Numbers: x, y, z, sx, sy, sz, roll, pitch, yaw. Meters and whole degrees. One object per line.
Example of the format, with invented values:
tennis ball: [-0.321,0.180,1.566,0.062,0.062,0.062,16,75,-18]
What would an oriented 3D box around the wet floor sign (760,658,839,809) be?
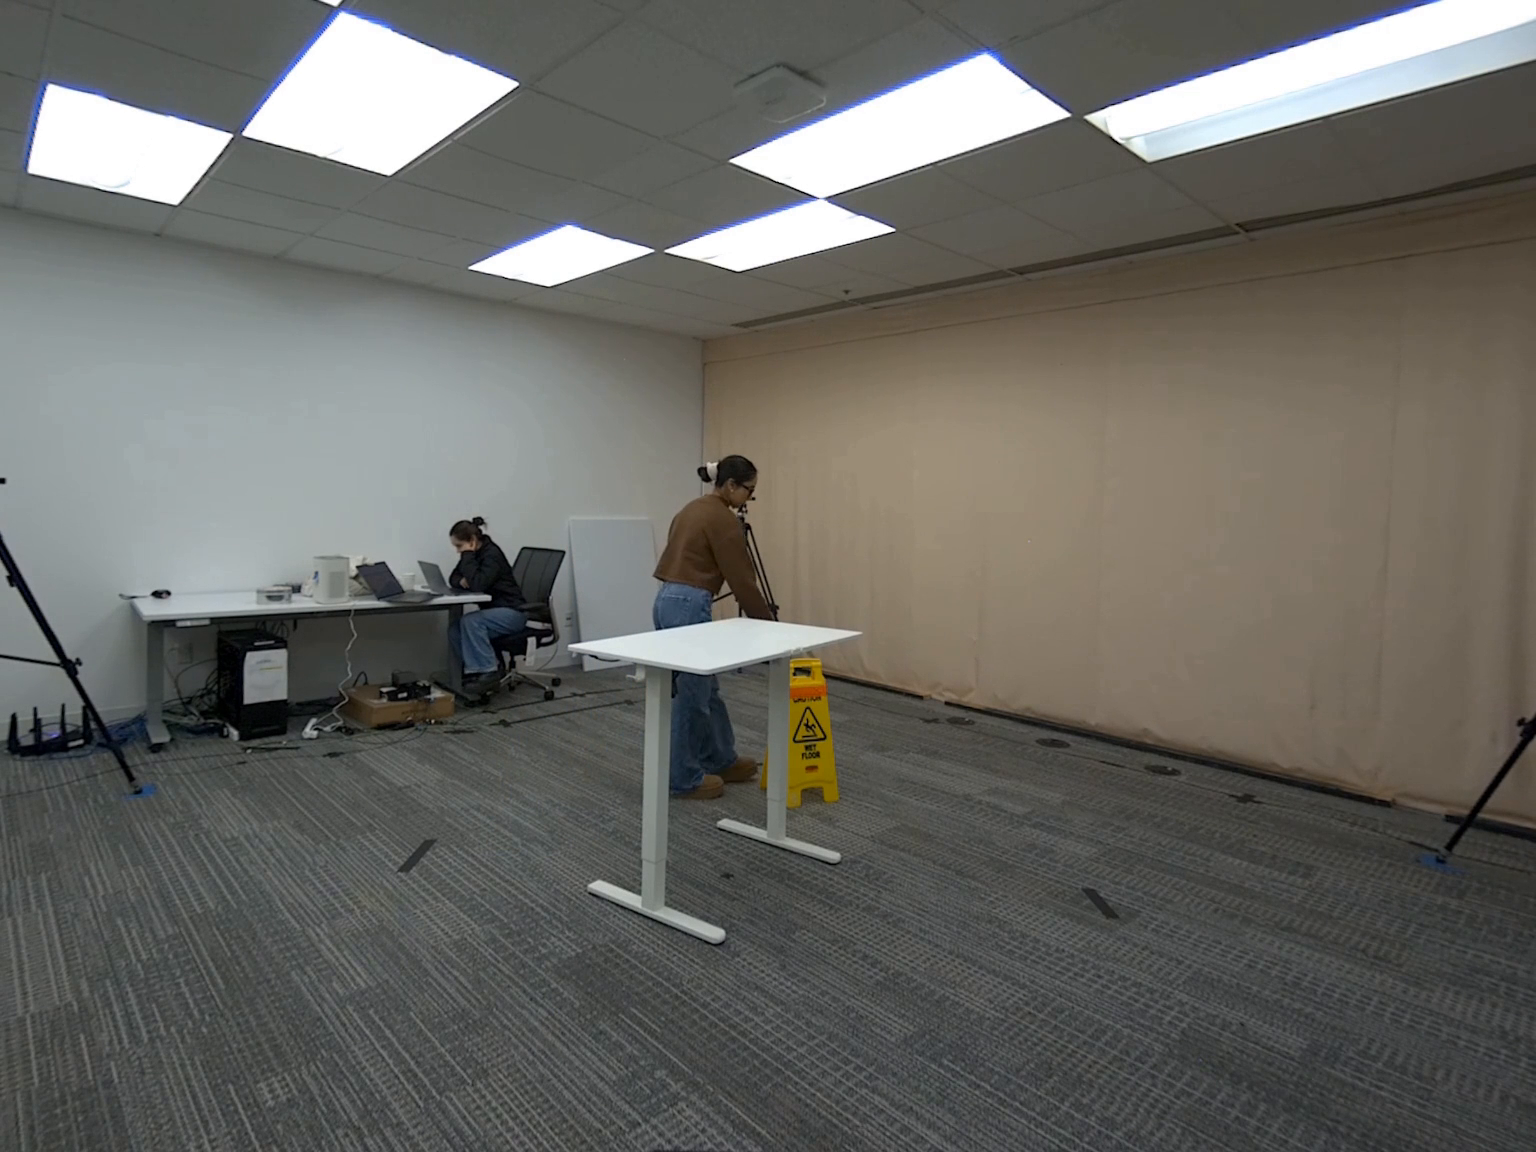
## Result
wet floor sign: [0.142,0.718,3.995,0.277,0.645,0.295,1,2,-26]
